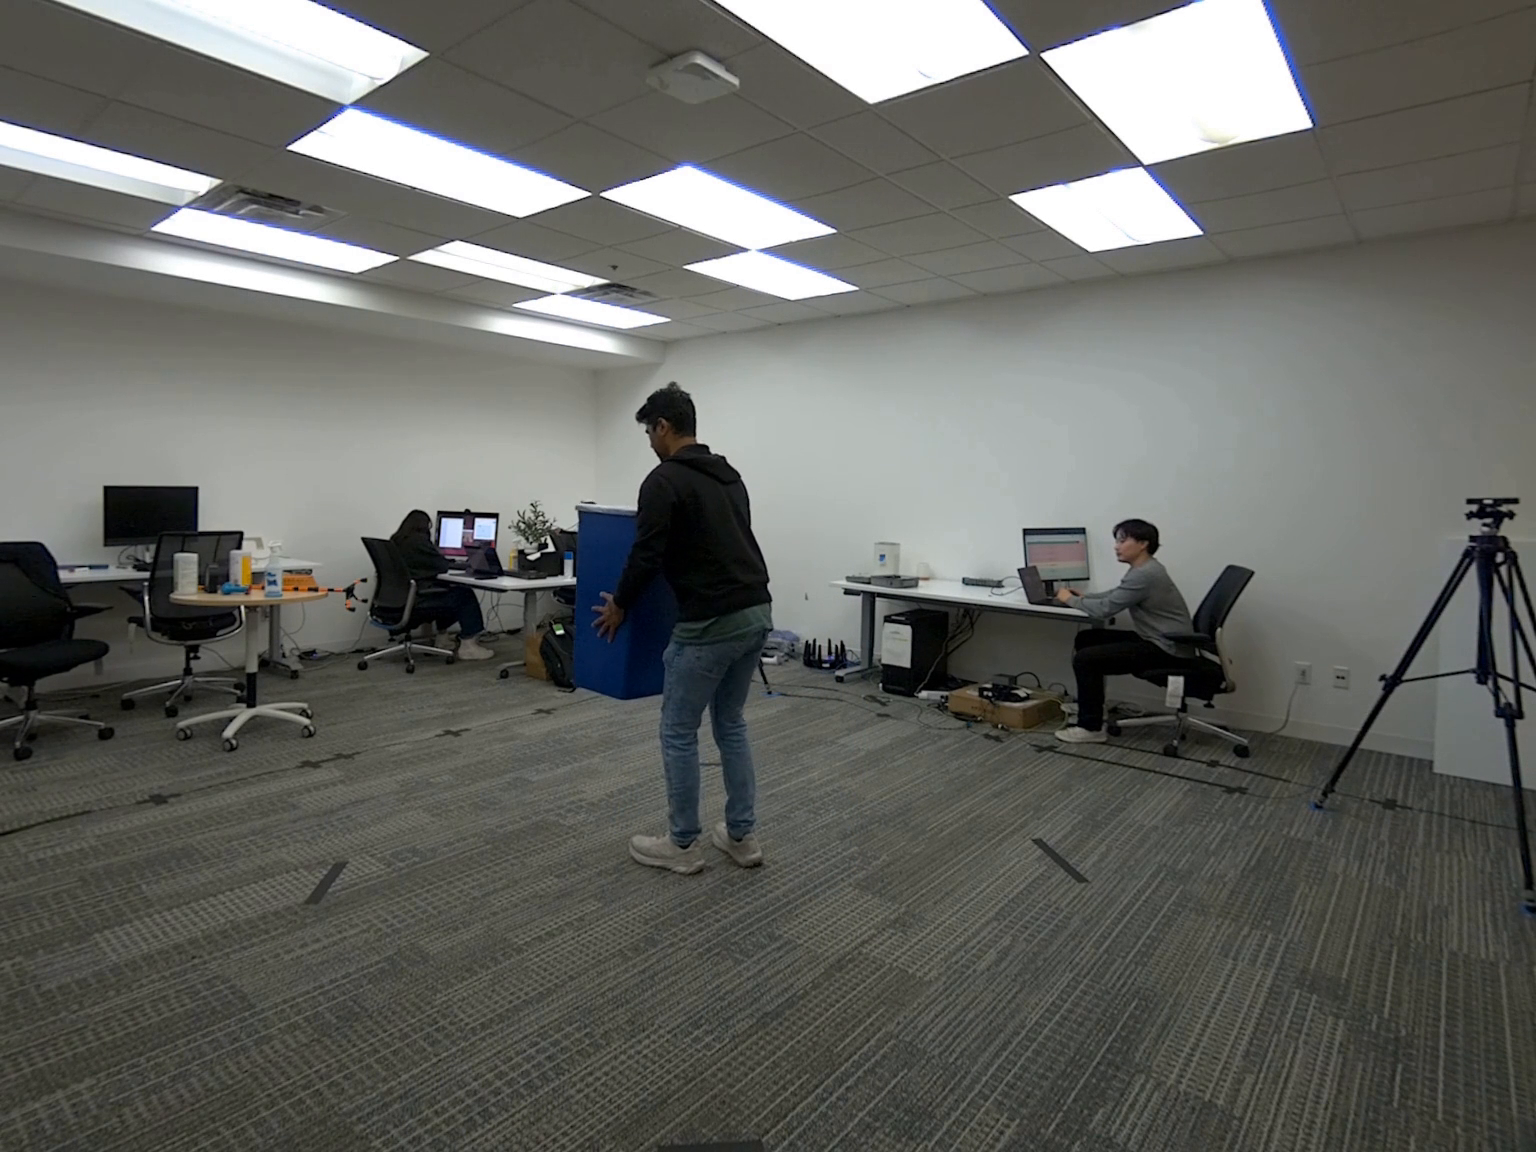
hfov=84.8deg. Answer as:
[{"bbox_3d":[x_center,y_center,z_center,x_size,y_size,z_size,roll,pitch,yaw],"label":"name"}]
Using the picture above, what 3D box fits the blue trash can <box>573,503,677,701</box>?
[{"bbox_3d":[-0.563,0.093,3.372,0.387,0.712,0.366,7,3,36],"label":"blue trash can"}]
